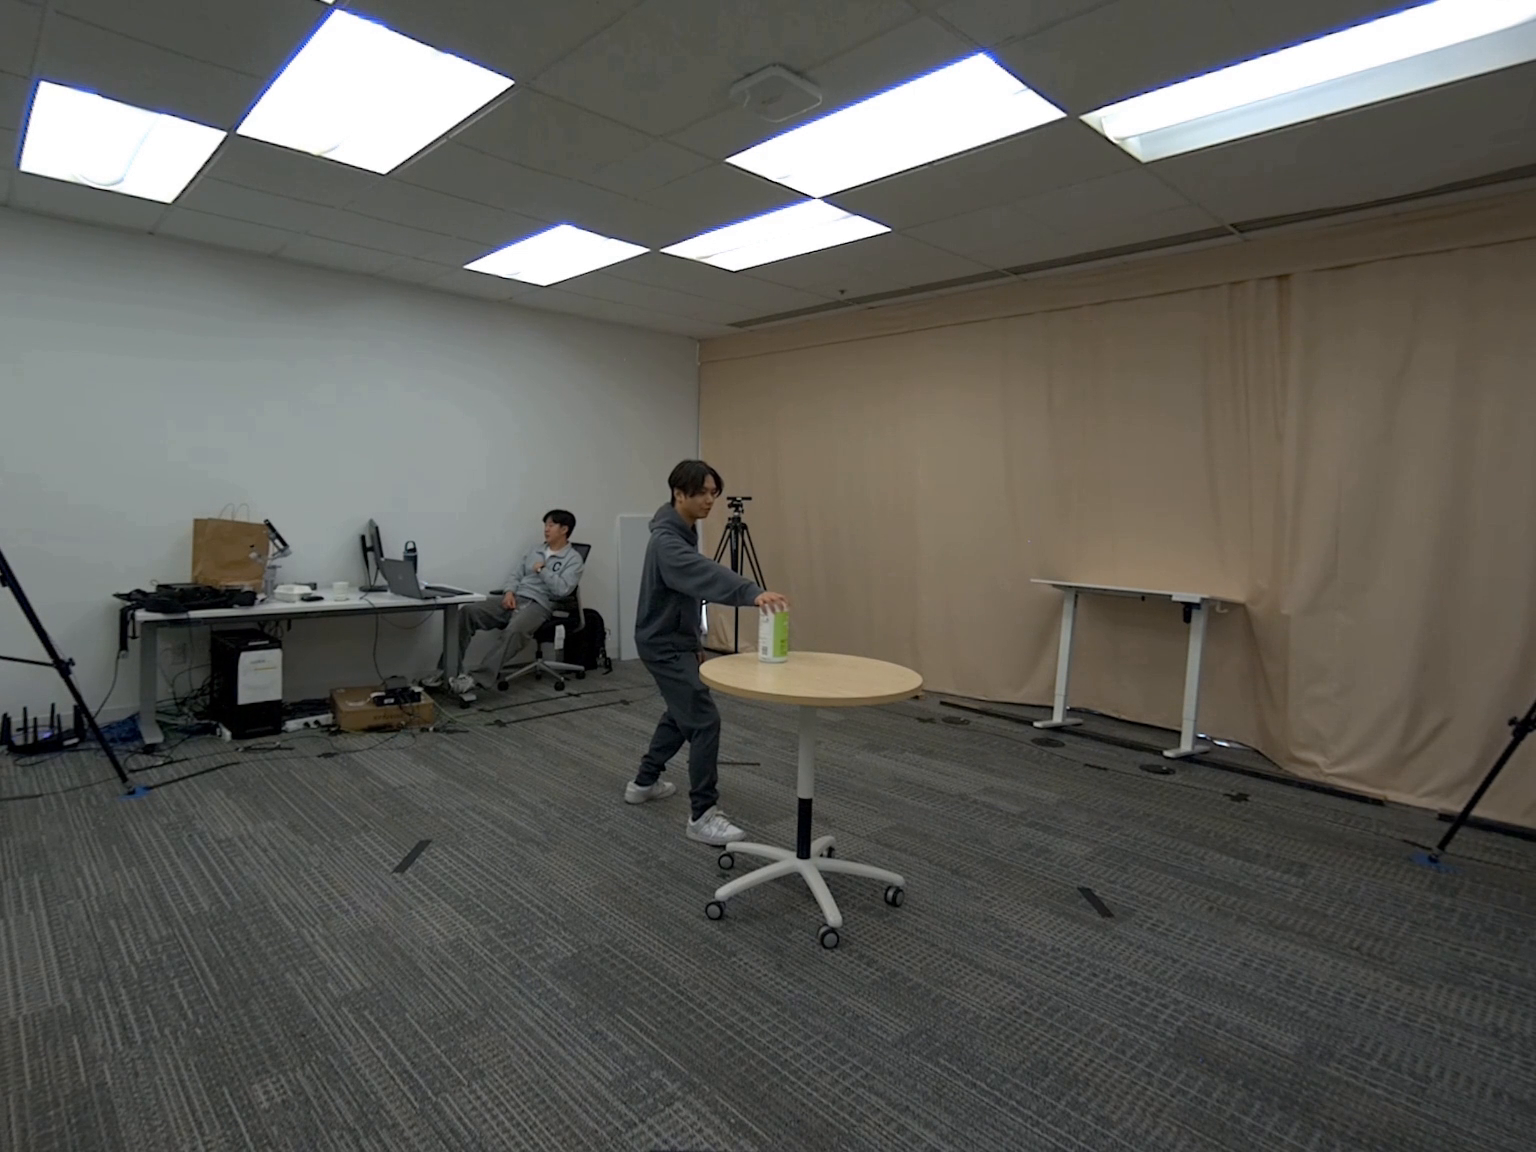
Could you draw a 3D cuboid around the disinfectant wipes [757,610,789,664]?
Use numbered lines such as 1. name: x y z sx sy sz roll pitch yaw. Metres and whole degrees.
1. disinfectant wipes: 0.014 0.206 3.095 0.118 0.217 0.118 1 2 -1
